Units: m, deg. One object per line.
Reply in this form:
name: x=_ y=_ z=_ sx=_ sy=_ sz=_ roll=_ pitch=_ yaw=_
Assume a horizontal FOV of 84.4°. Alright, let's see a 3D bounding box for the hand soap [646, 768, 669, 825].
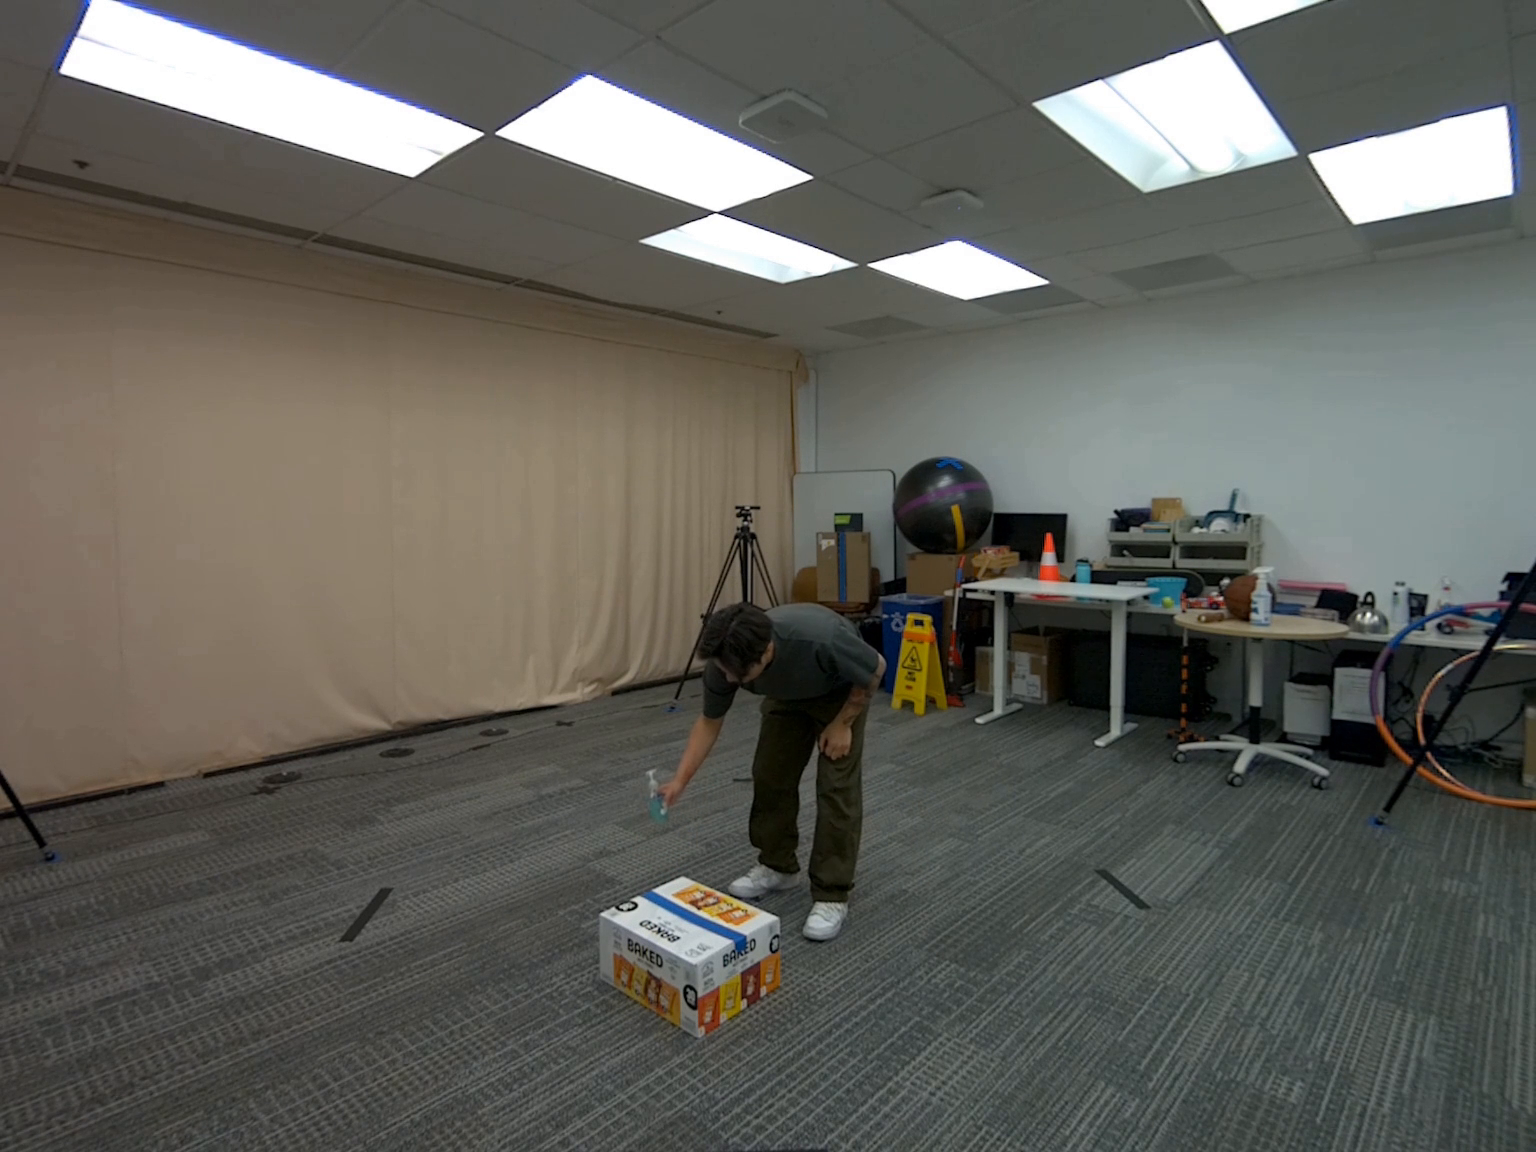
hand soap: x=-0.359 y=0.726 z=2.772 sx=0.044 sy=0.168 sz=0.083 roll=-9 pitch=0 yaw=16
